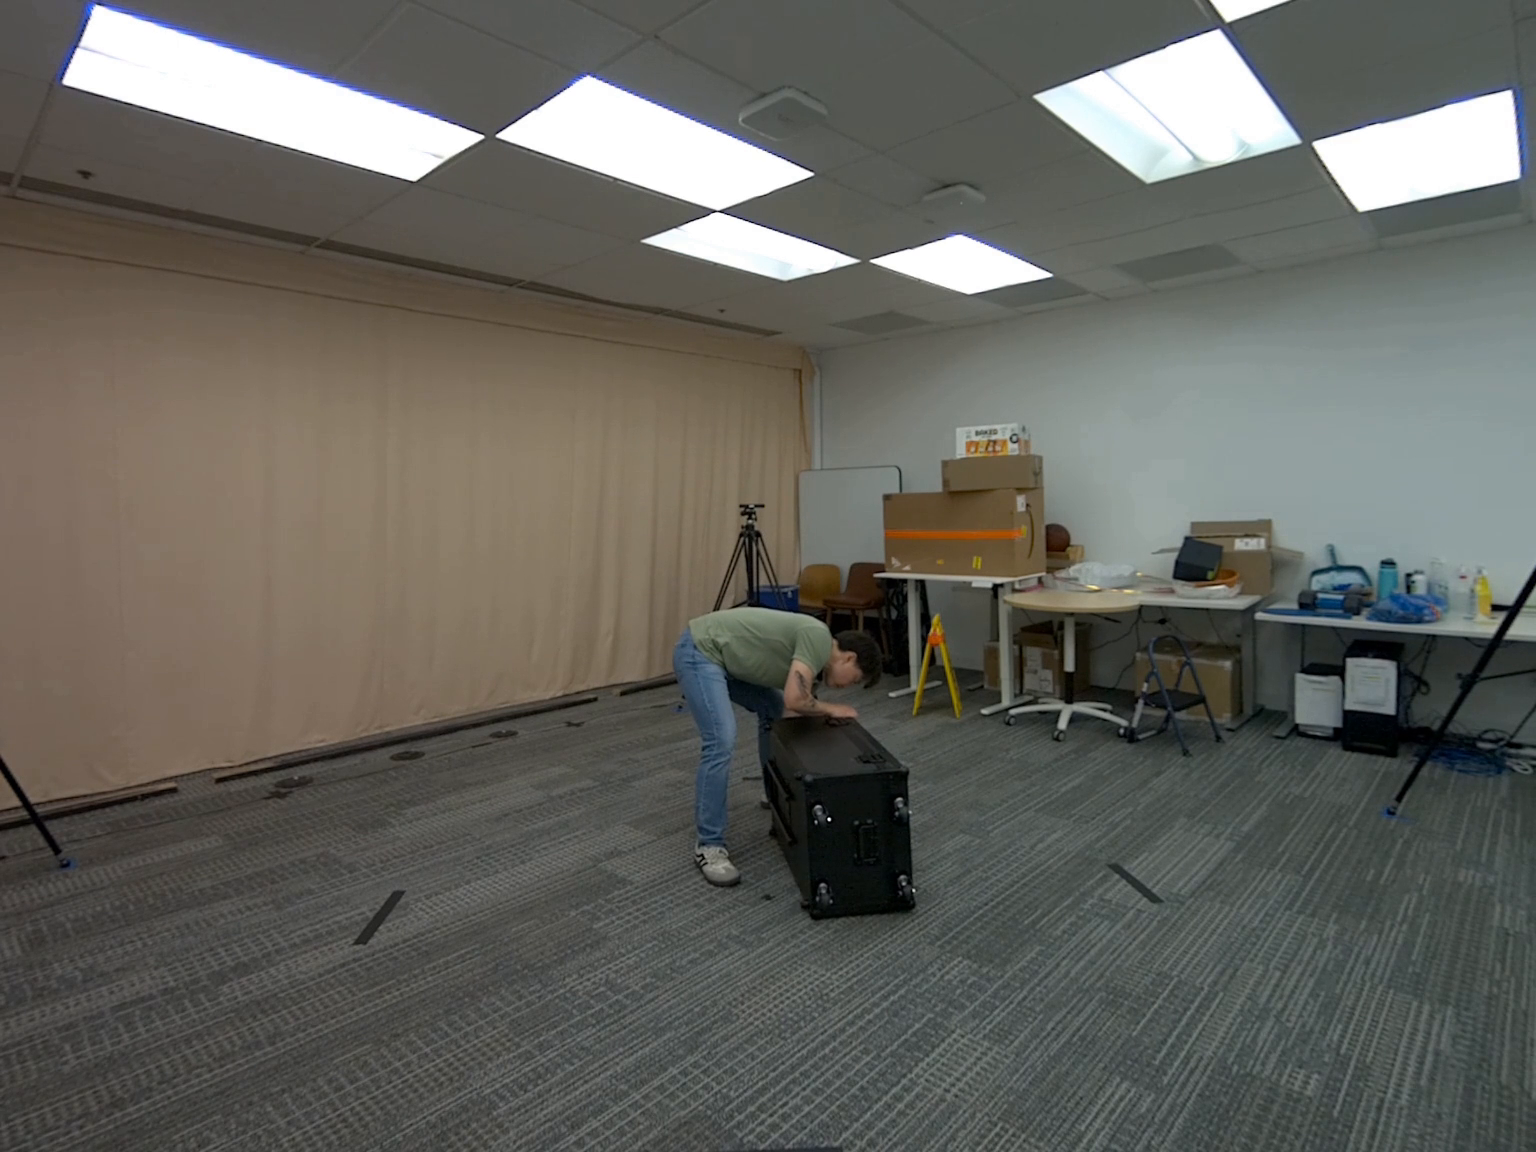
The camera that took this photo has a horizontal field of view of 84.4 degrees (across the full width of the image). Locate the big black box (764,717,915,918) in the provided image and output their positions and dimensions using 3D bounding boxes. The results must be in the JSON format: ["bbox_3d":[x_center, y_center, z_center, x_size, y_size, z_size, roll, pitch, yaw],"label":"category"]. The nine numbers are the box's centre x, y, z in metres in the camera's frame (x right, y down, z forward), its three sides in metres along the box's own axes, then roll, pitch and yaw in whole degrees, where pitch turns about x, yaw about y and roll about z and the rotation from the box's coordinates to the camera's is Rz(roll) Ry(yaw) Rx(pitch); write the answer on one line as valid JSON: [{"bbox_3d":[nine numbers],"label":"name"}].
[{"bbox_3d":[0.242,0.859,3.161,0.393,0.520,0.871,-3,5,-10],"label":"big black box"}]
